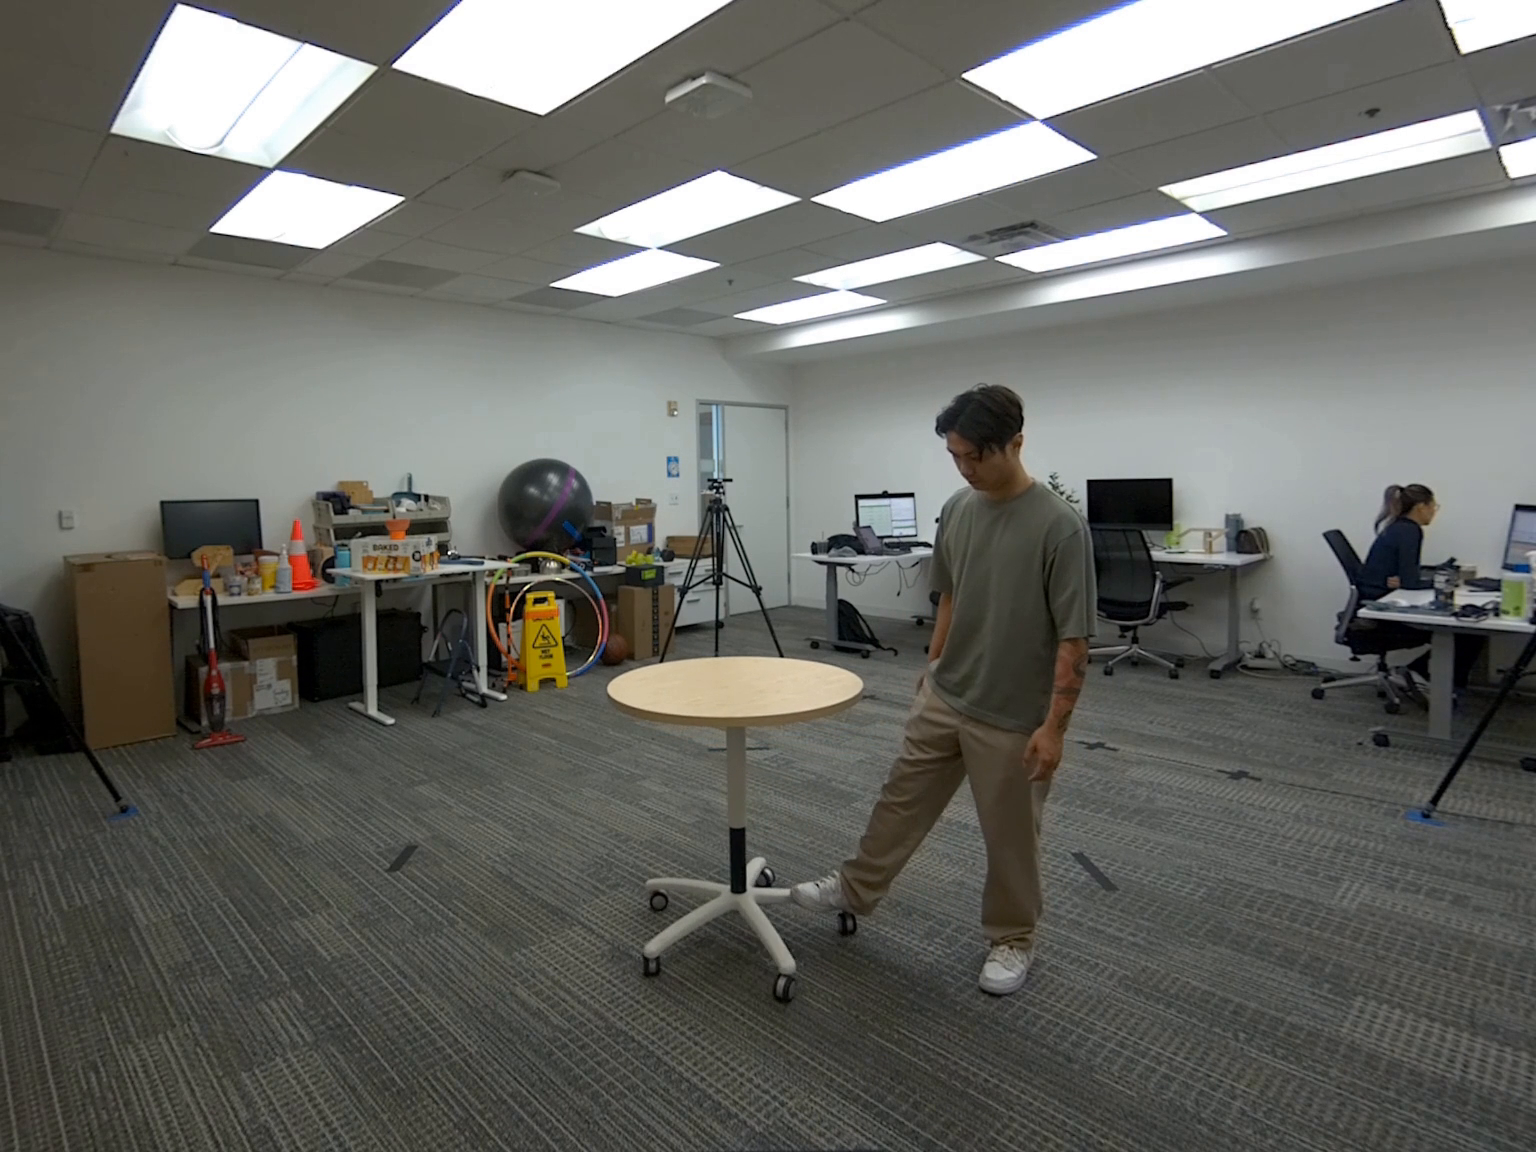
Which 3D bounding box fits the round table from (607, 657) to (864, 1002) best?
[{"bbox_3d":[-0.102,0.710,2.611,0.784,0.783,0.789,-1,5,-2],"label":"round table"}]
